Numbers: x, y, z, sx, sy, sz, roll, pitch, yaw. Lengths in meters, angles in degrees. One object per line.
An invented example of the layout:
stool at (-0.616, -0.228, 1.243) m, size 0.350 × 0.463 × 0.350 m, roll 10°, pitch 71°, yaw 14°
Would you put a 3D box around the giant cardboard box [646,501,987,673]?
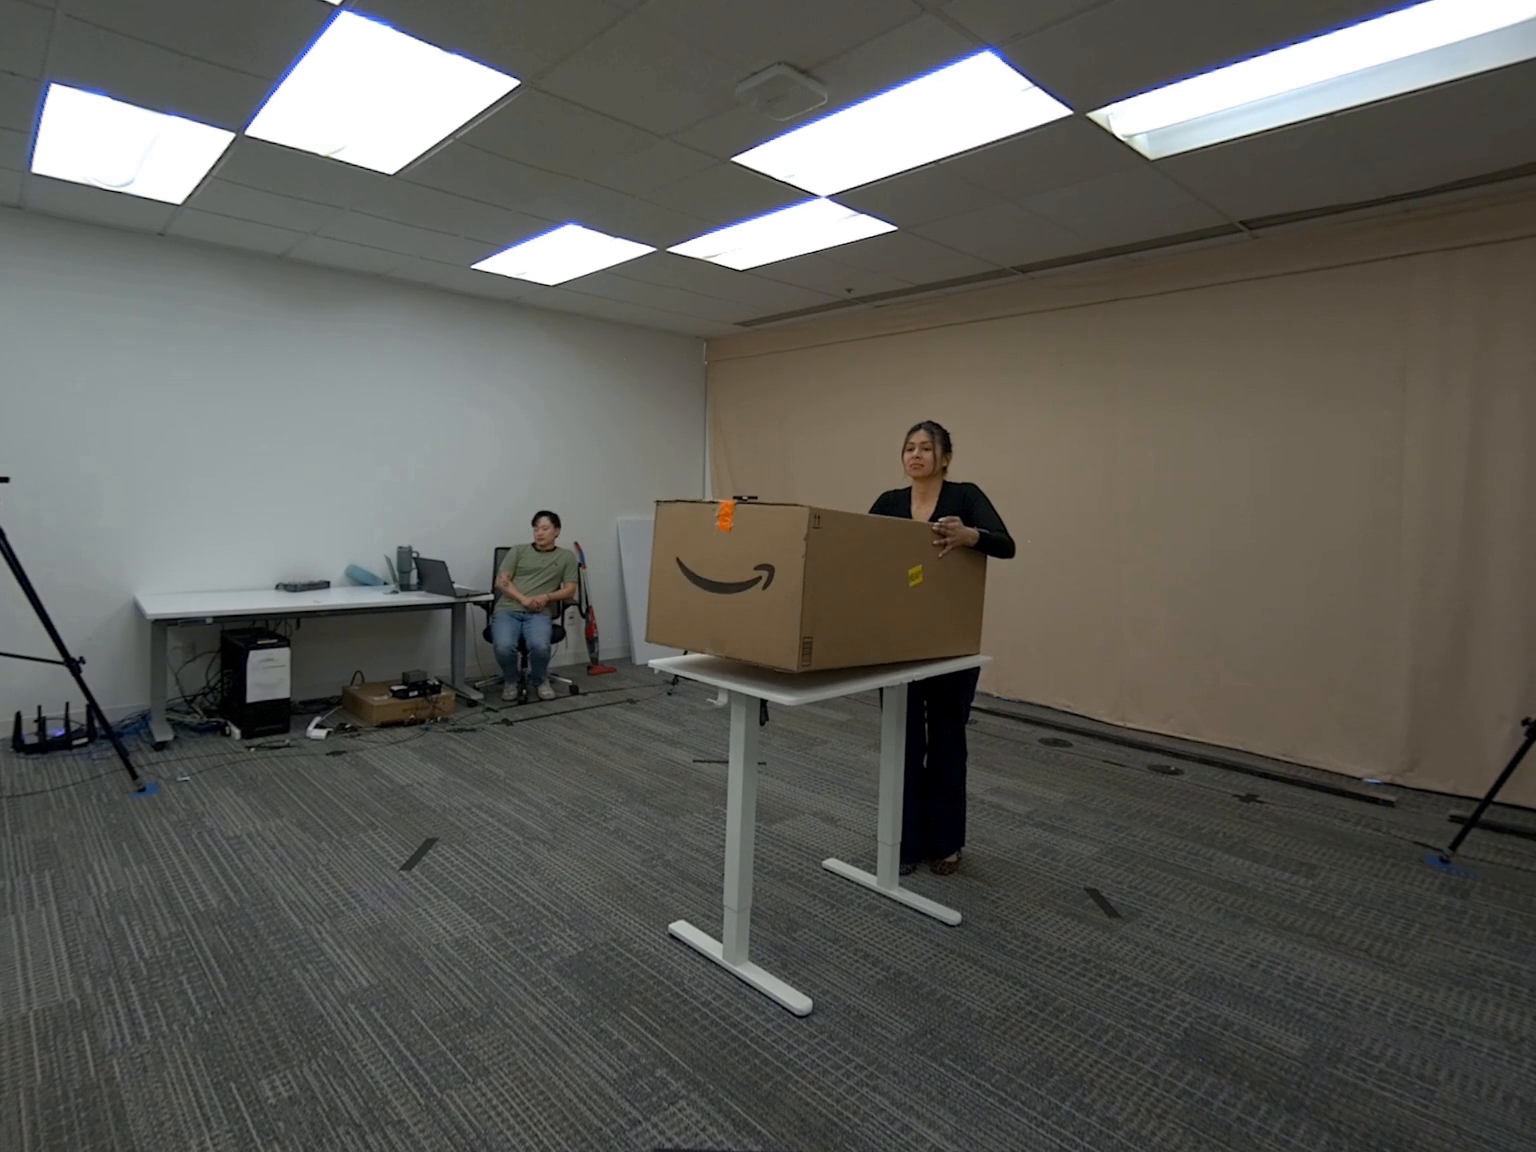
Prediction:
giant cardboard box at (0.184, 0.025, 2.674) m, size 0.592 × 0.426 × 1.000 m, roll 6°, pitch 1°, yaw 41°
